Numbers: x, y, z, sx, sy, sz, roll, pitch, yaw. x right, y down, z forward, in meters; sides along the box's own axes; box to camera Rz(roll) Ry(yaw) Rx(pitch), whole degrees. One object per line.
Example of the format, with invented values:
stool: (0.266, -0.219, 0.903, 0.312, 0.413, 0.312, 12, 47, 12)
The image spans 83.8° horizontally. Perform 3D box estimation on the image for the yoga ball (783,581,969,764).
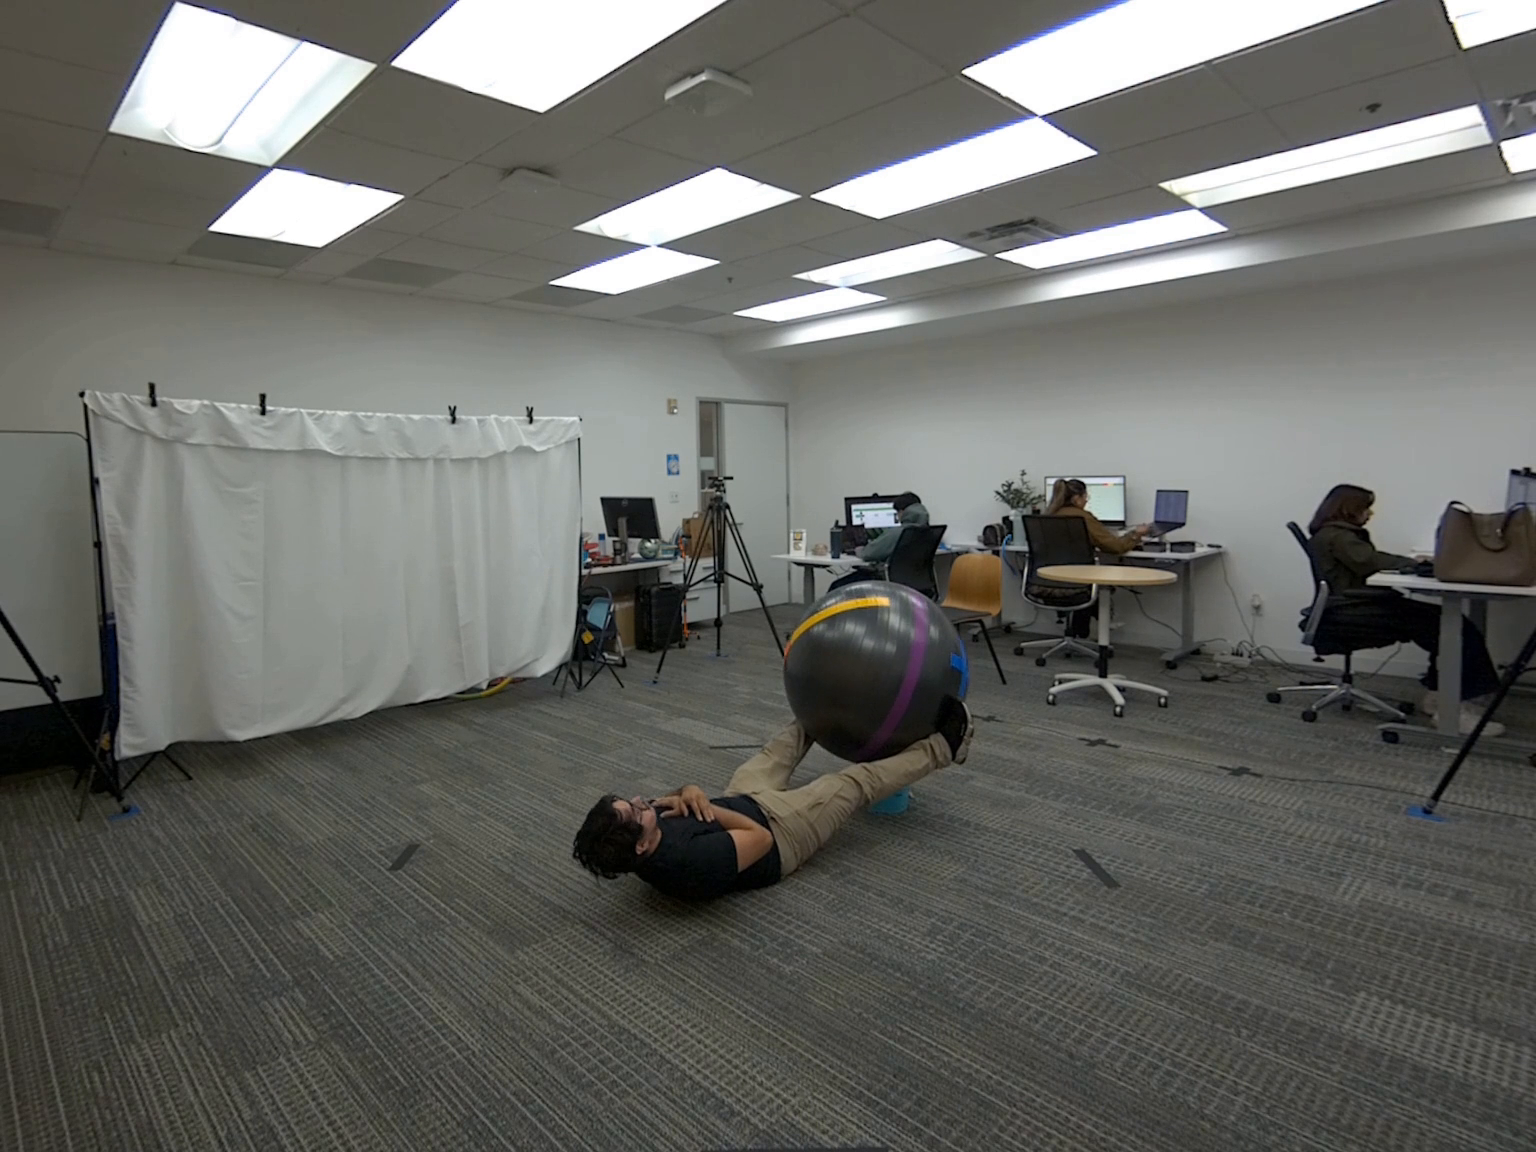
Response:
yoga ball: (0.446, 0.405, 3.562, 0.757, 0.755, 0.762, -1, 5, -2)
